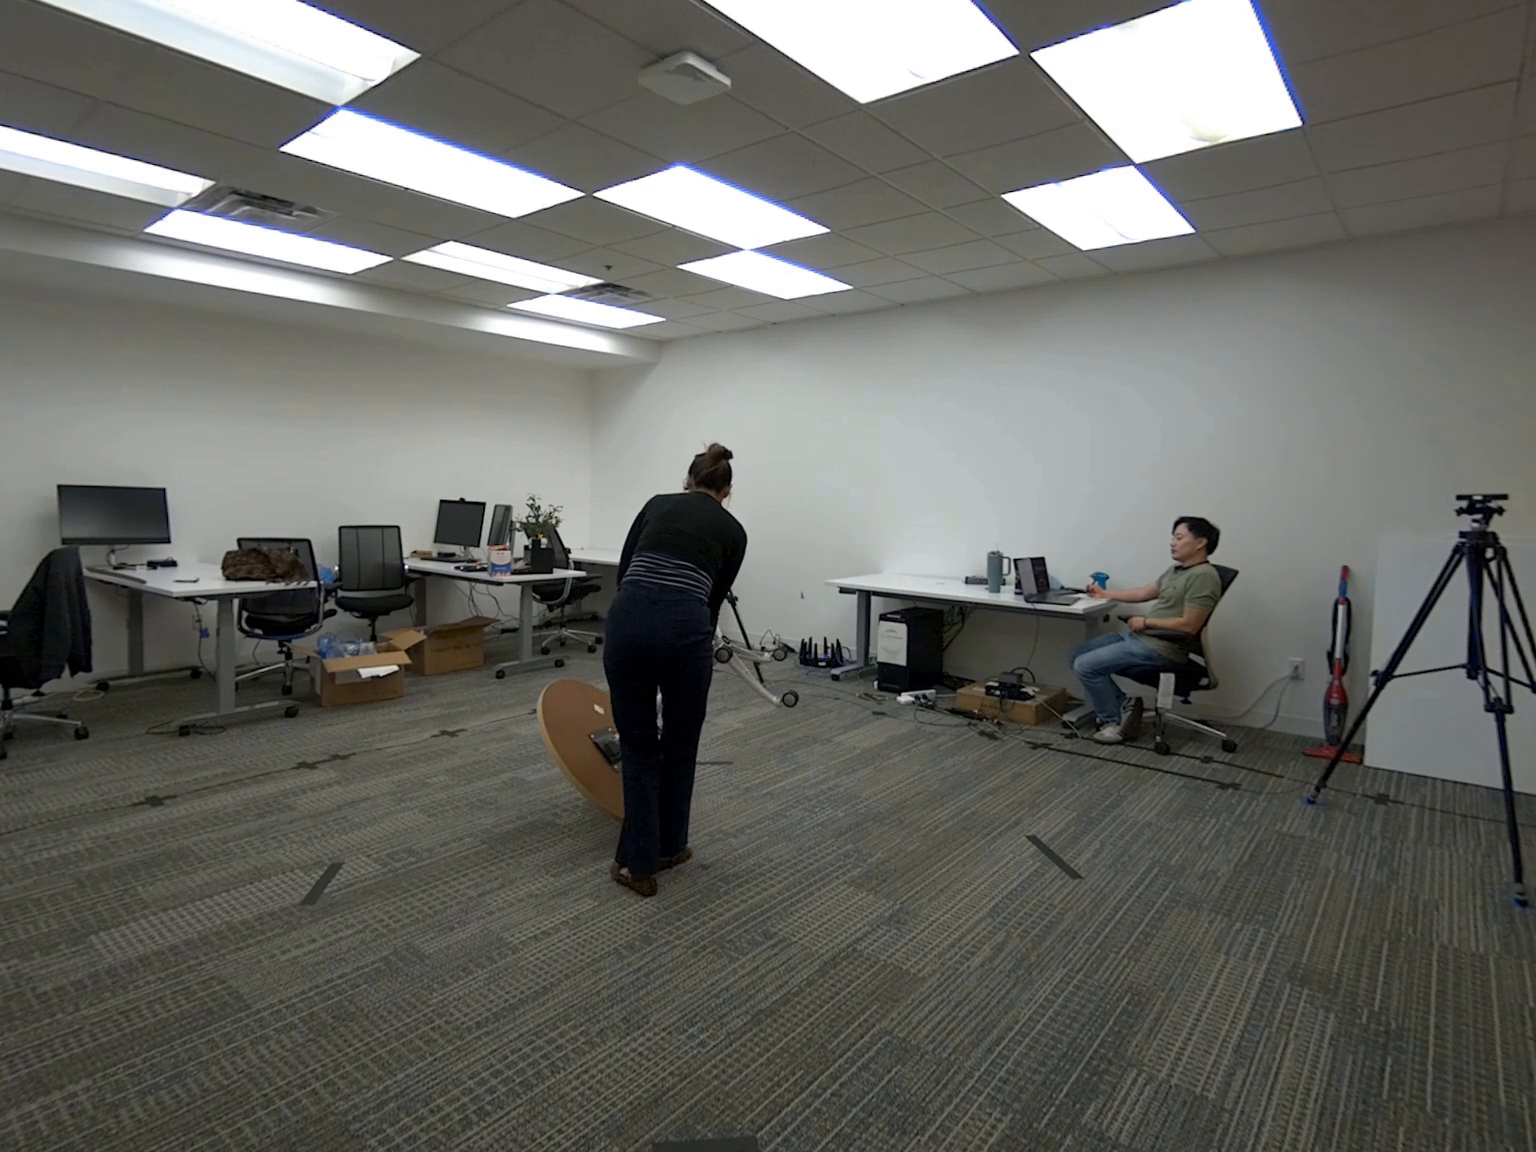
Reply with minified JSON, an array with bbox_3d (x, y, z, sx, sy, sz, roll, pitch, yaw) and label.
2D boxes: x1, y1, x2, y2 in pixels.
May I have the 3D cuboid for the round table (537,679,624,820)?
[{"bbox_3d":[-0.404,0.477,3.500,0.750,0.794,0.778,41,12,-14],"label":"round table"}]
